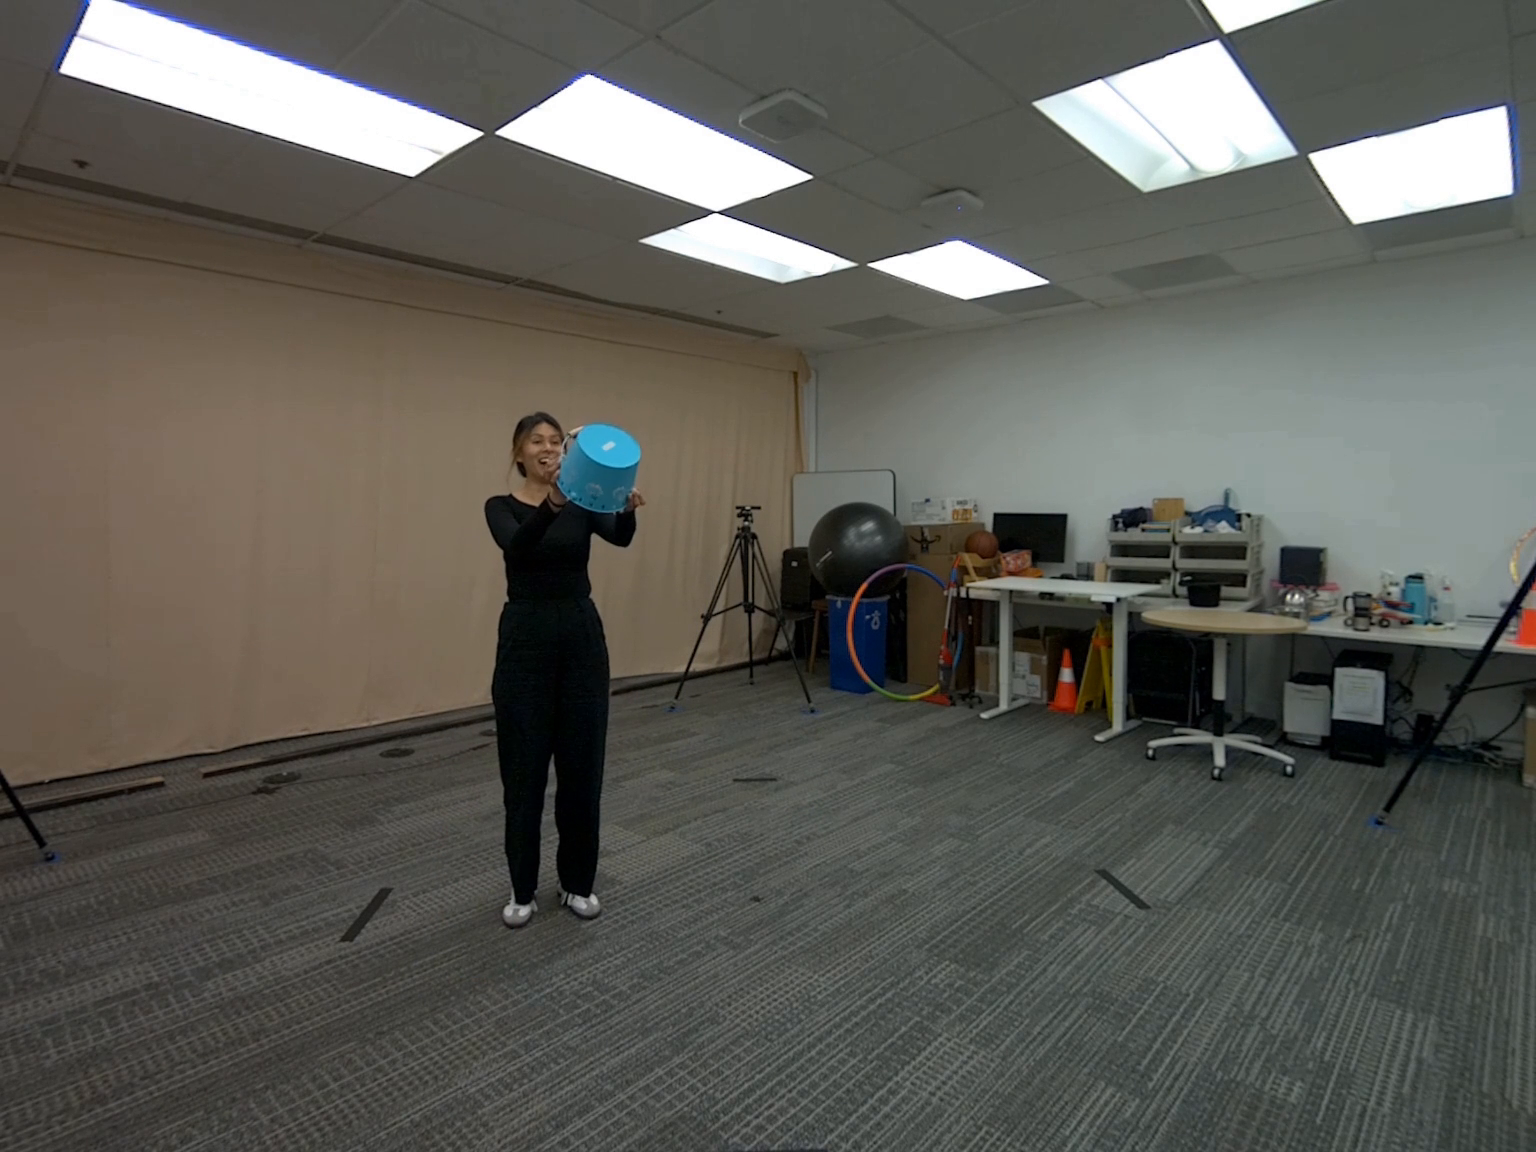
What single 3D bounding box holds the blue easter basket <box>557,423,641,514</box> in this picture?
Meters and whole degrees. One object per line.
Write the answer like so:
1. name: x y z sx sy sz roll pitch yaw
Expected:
1. blue easter basket: -0.473 -0.309 2.367 0.237 0.250 0.156 -3 -40 -32
